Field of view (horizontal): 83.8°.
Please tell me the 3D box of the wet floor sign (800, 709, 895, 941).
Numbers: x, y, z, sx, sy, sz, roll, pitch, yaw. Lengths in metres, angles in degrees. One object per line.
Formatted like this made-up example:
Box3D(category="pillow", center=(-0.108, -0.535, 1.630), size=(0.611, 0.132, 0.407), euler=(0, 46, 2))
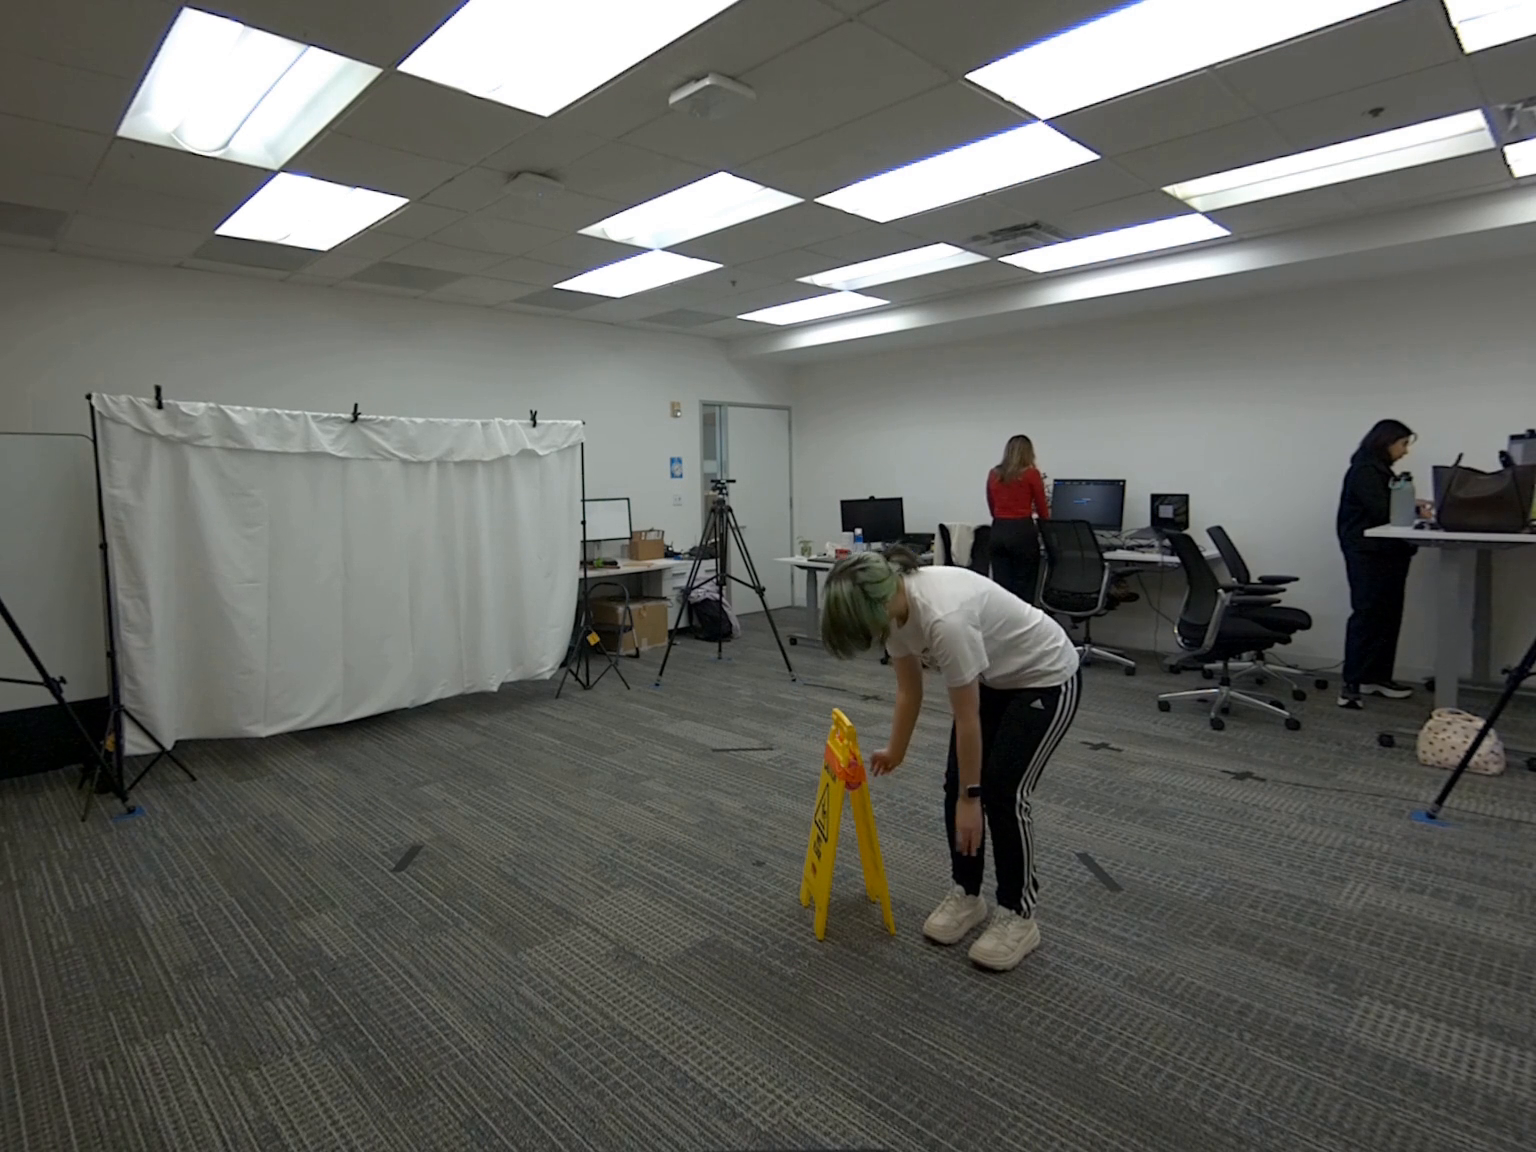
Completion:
Box3D(category="wet floor sign", center=(0.247, 0.767, 2.698), size=(0.288, 0.643, 0.285), euler=(-2, 4, -7))
